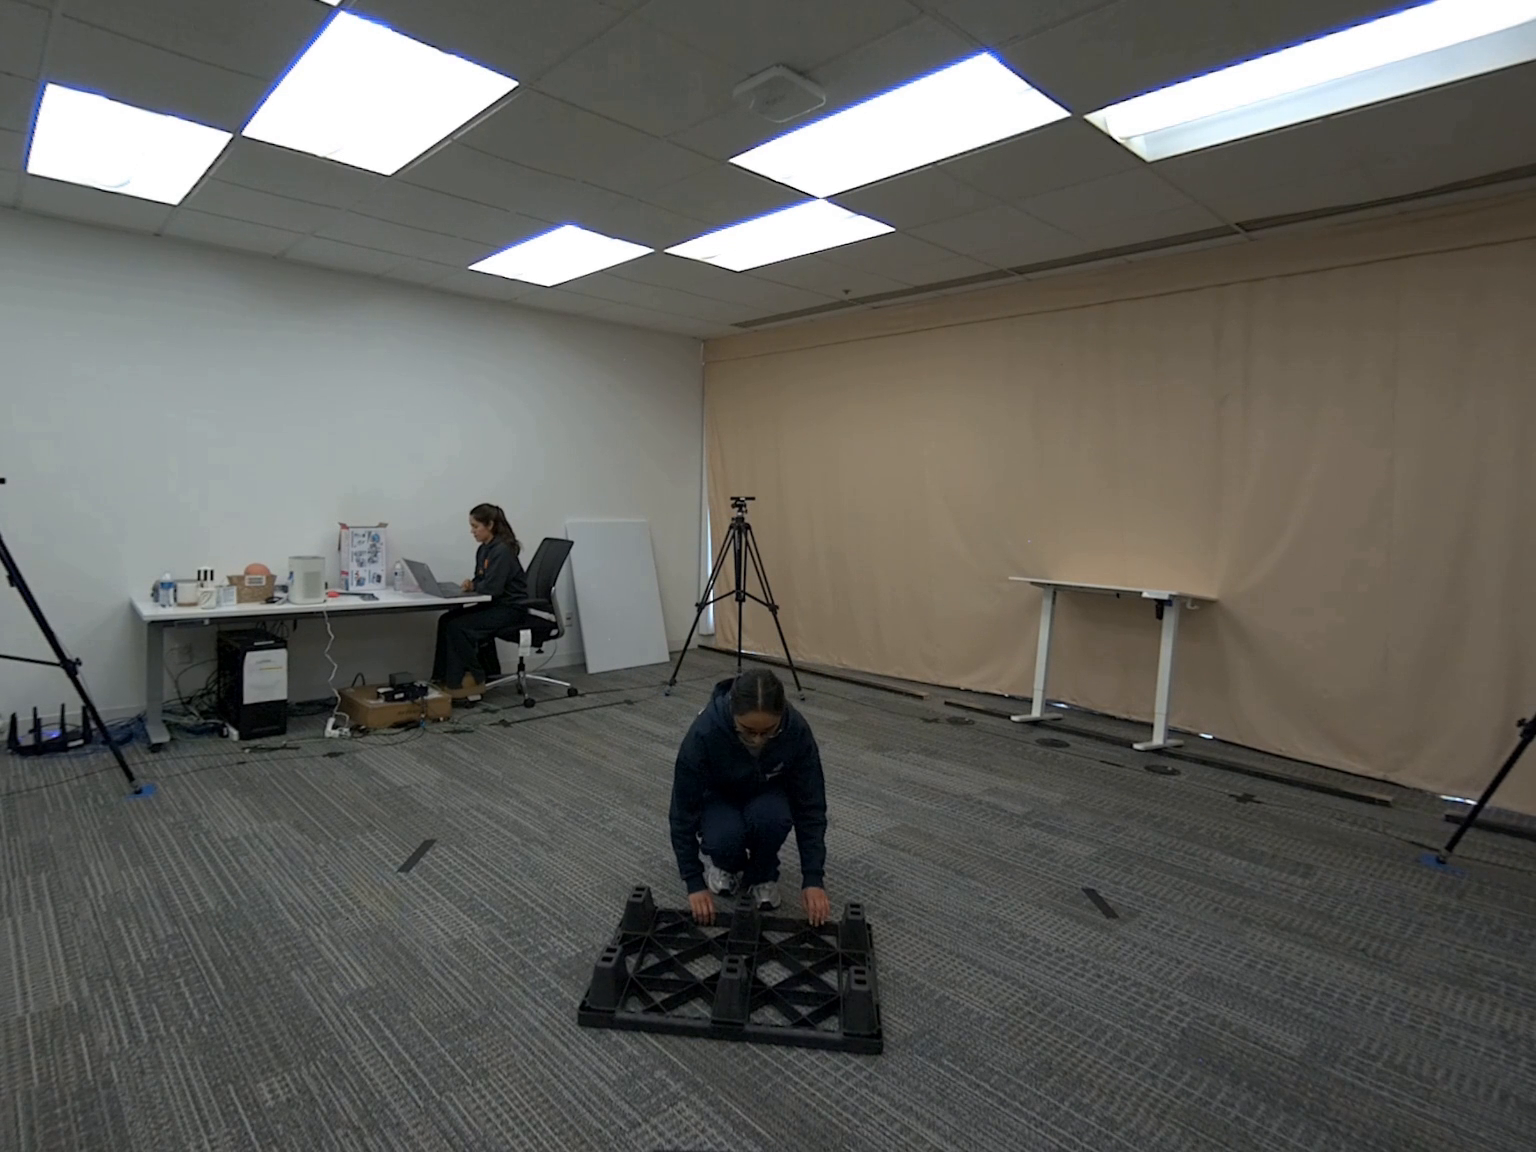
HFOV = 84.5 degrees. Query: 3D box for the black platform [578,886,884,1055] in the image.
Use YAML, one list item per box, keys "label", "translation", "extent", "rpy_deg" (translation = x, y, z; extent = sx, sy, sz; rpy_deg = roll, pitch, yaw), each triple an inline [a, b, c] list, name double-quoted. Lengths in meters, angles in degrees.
- label: "black platform"
  translation: [-0.093, 1.102, 2.446]
  extent: [0.809, 0.143, 0.604]
  rpy_deg: [2, 5, 5]
